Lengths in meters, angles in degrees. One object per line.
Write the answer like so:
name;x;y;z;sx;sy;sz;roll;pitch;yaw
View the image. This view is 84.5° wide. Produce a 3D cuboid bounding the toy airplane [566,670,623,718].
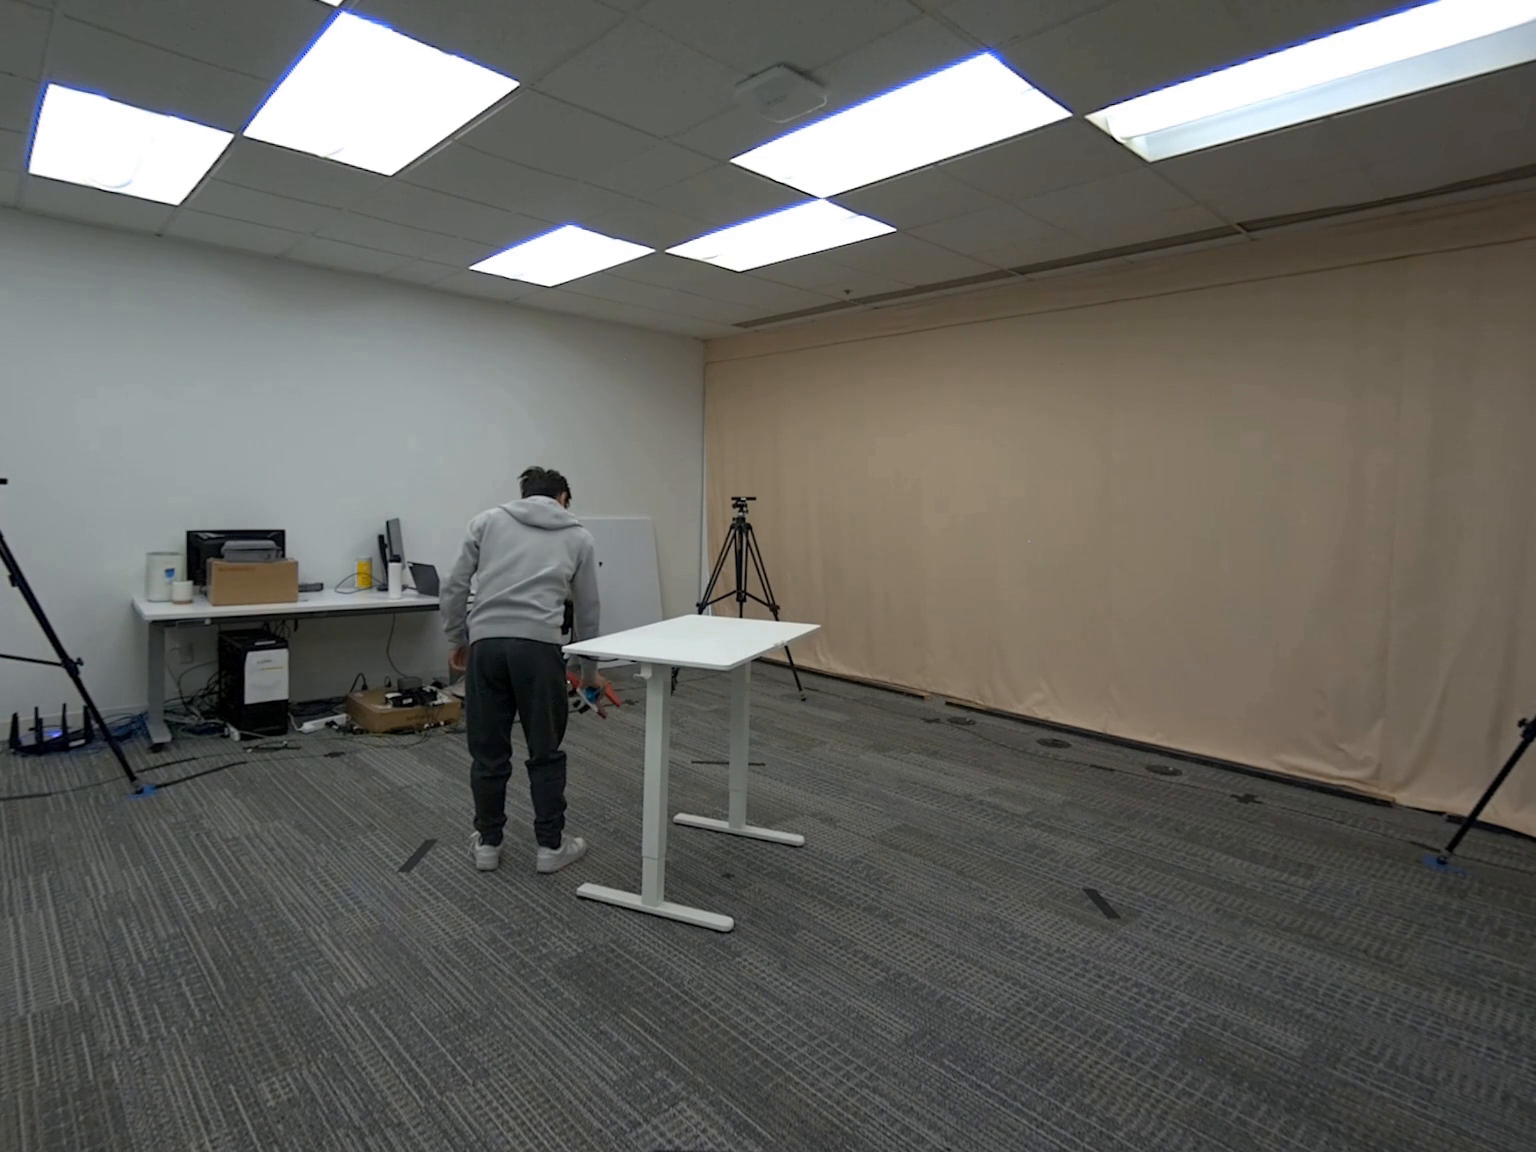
toy airplane;-0.723;0.493;3.453;0.156;0.244;0.267;-42;35;-12
